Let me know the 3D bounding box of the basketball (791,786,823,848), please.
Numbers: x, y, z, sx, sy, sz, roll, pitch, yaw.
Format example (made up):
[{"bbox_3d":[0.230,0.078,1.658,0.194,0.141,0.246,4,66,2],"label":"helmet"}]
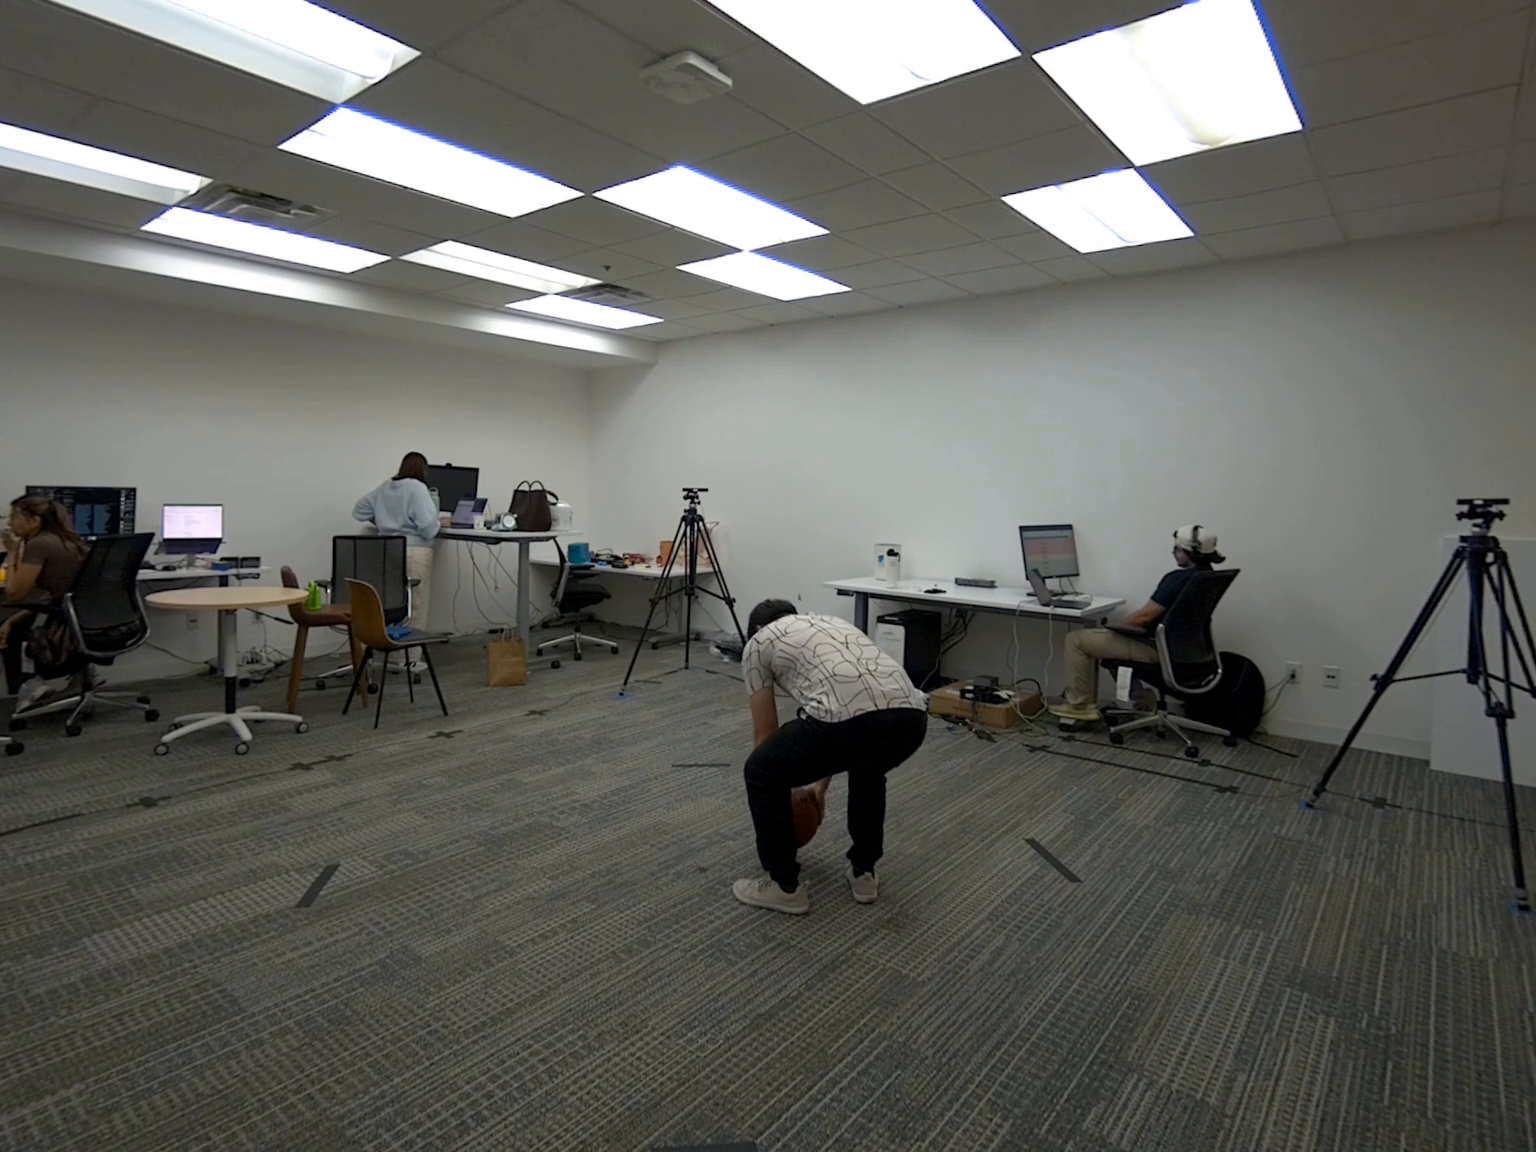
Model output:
[{"bbox_3d":[0.064,0.875,3.182,0.235,0.235,0.237,1,4,-2],"label":"basketball"}]
